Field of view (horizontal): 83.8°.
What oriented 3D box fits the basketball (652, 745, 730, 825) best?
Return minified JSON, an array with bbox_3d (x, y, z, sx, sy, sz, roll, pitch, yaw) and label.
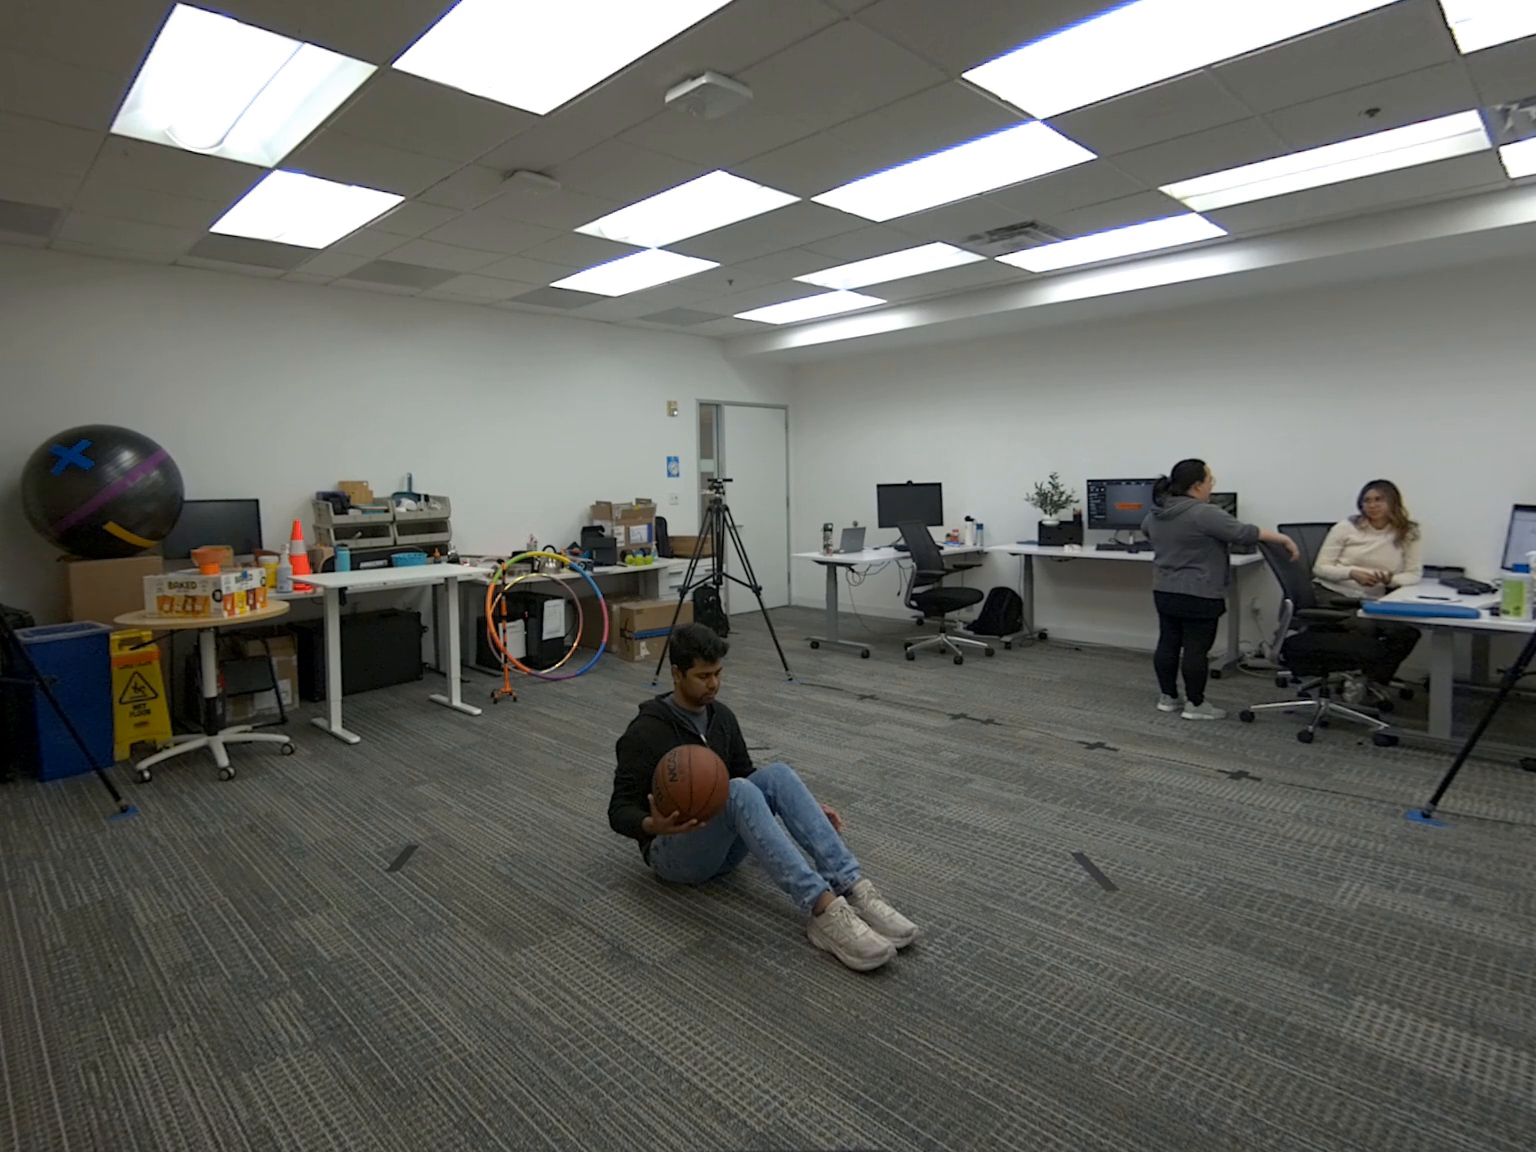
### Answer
[{"bbox_3d":[-0.231,0.654,2.641,0.236,0.235,0.237,-1,5,-2],"label":"basketball"}]
